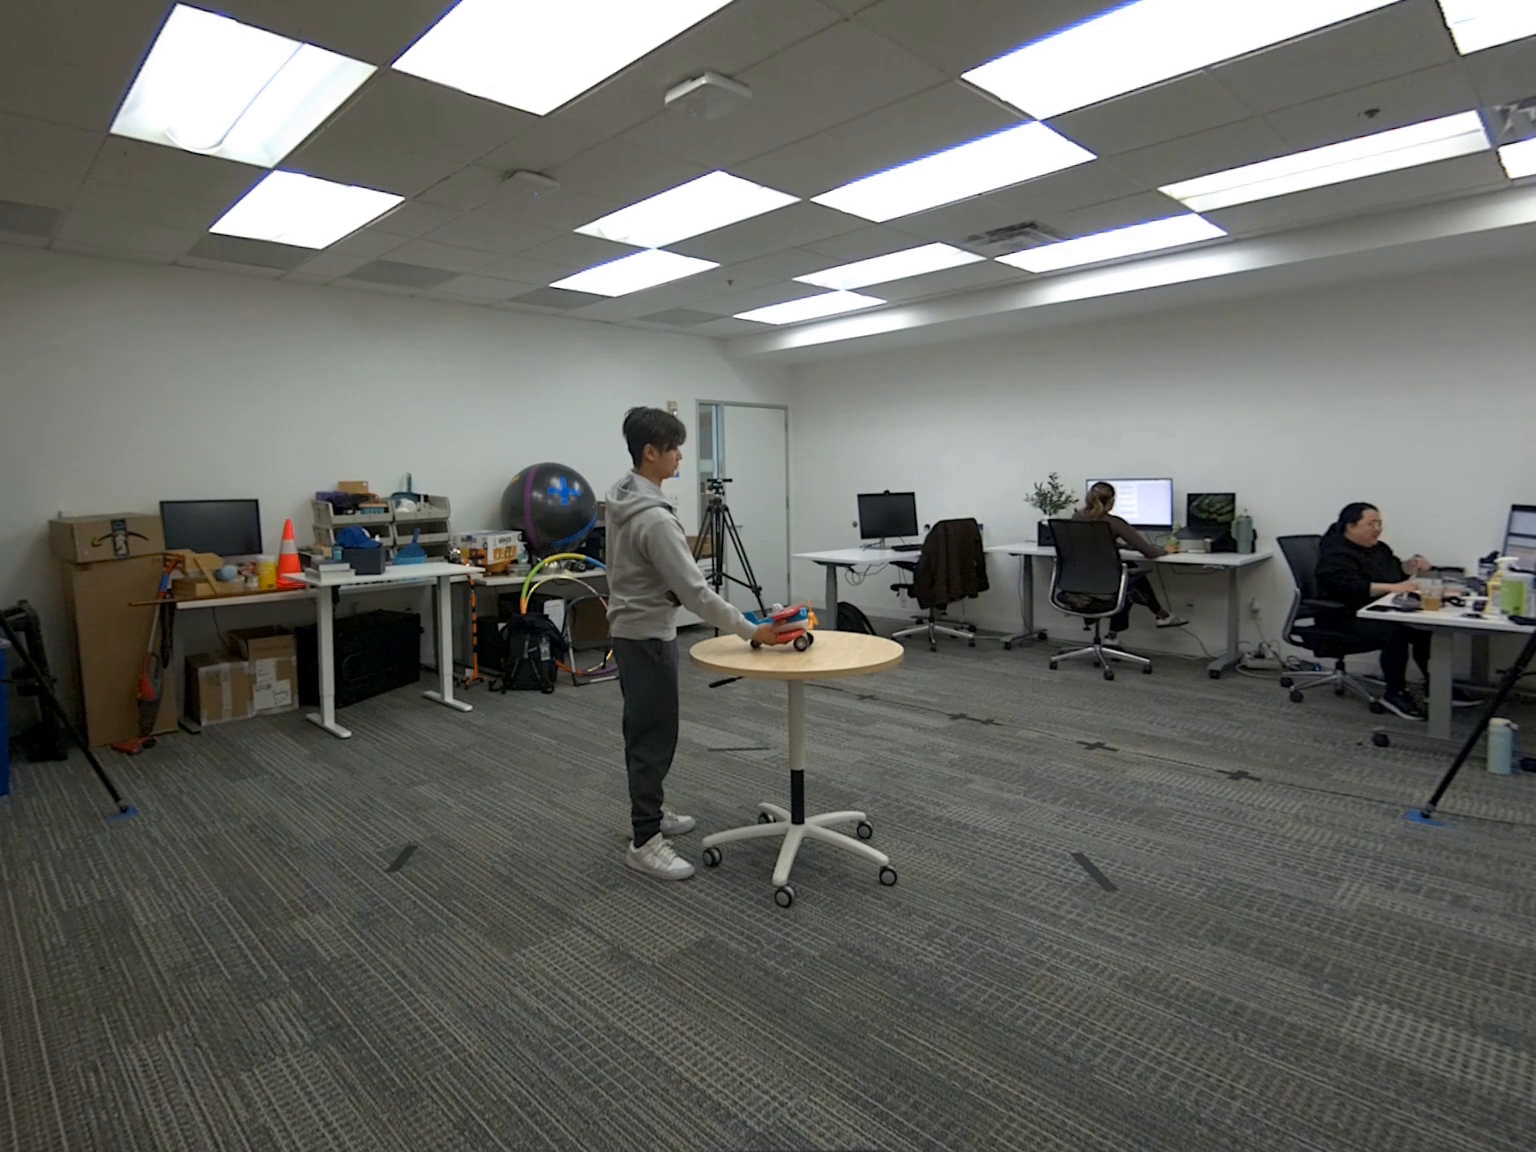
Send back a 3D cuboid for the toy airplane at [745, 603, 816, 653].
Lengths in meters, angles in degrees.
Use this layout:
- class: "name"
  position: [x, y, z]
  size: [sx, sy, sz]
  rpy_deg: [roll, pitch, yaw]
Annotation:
- class: "toy airplane"
  position: [0.042, 0.184, 3.072]
  size: [0.256, 0.156, 0.255]
  rpy_deg: [0, 4, -13]
